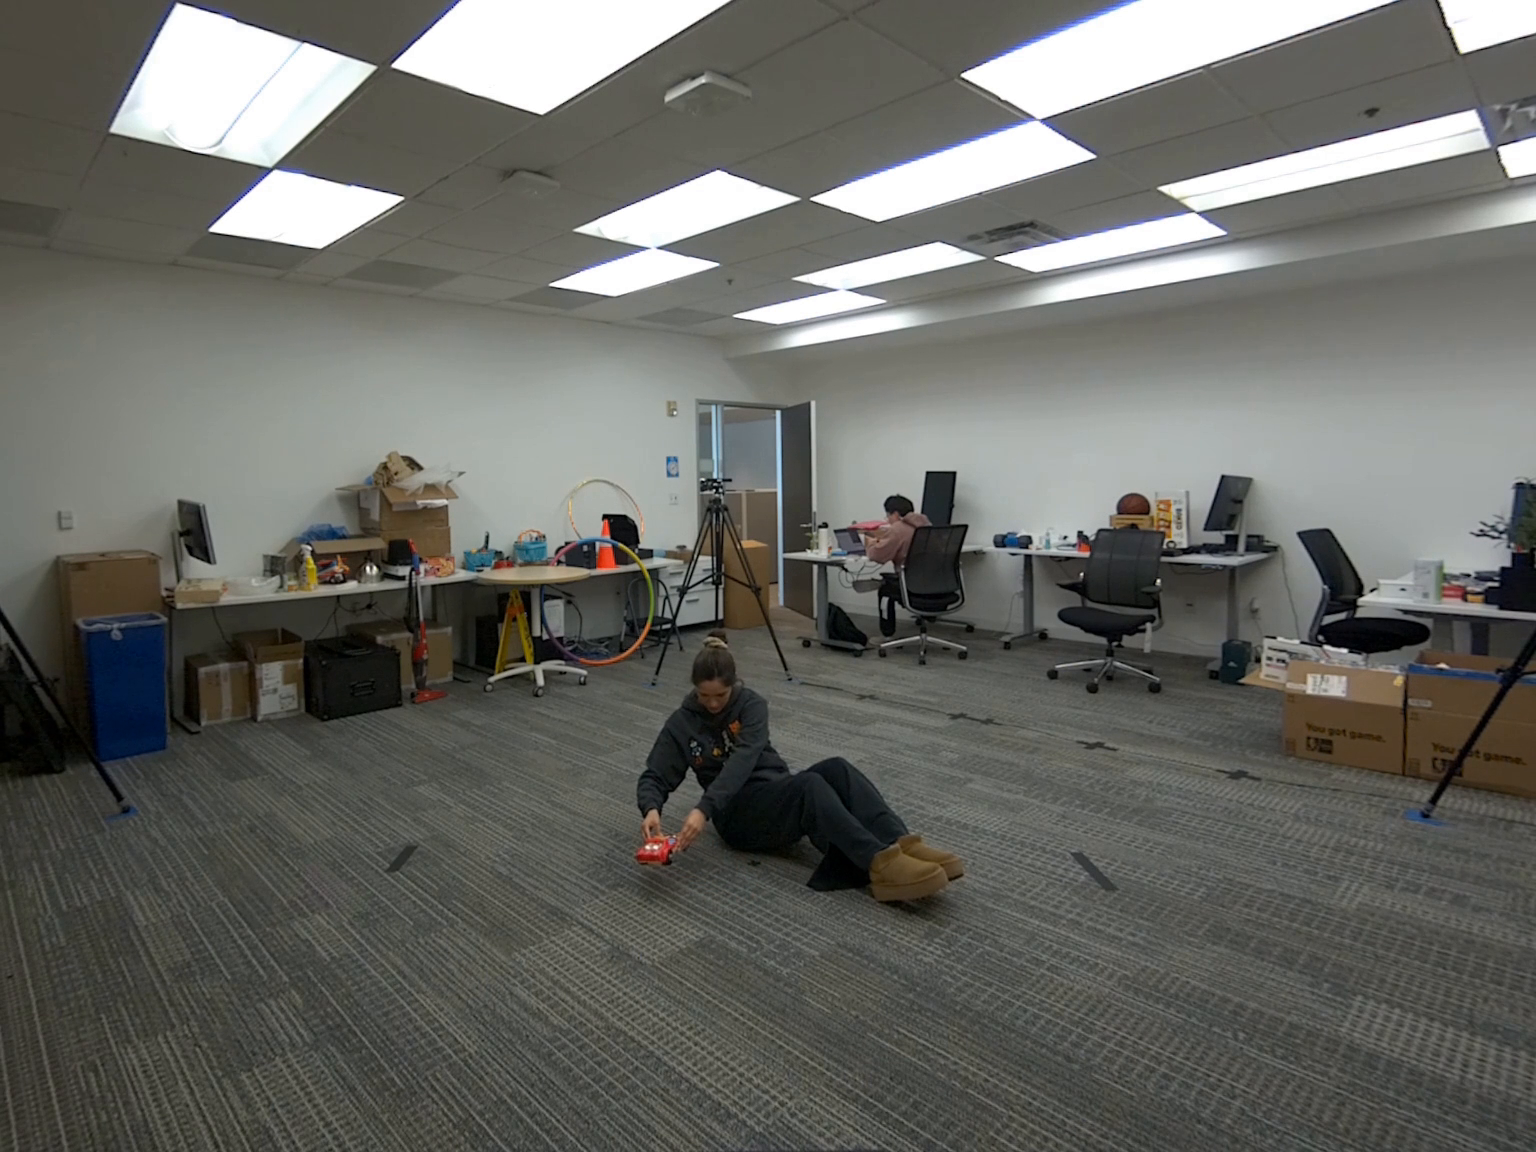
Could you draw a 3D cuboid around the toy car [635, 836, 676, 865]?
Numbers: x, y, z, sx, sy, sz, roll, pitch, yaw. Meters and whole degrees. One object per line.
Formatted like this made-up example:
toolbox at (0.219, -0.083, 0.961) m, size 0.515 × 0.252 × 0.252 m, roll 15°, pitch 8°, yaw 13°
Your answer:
toy car at (-0.363, 0.931, 2.875) m, size 0.132 × 0.084 × 0.247 m, roll -7°, pitch -14°, yaw 18°
